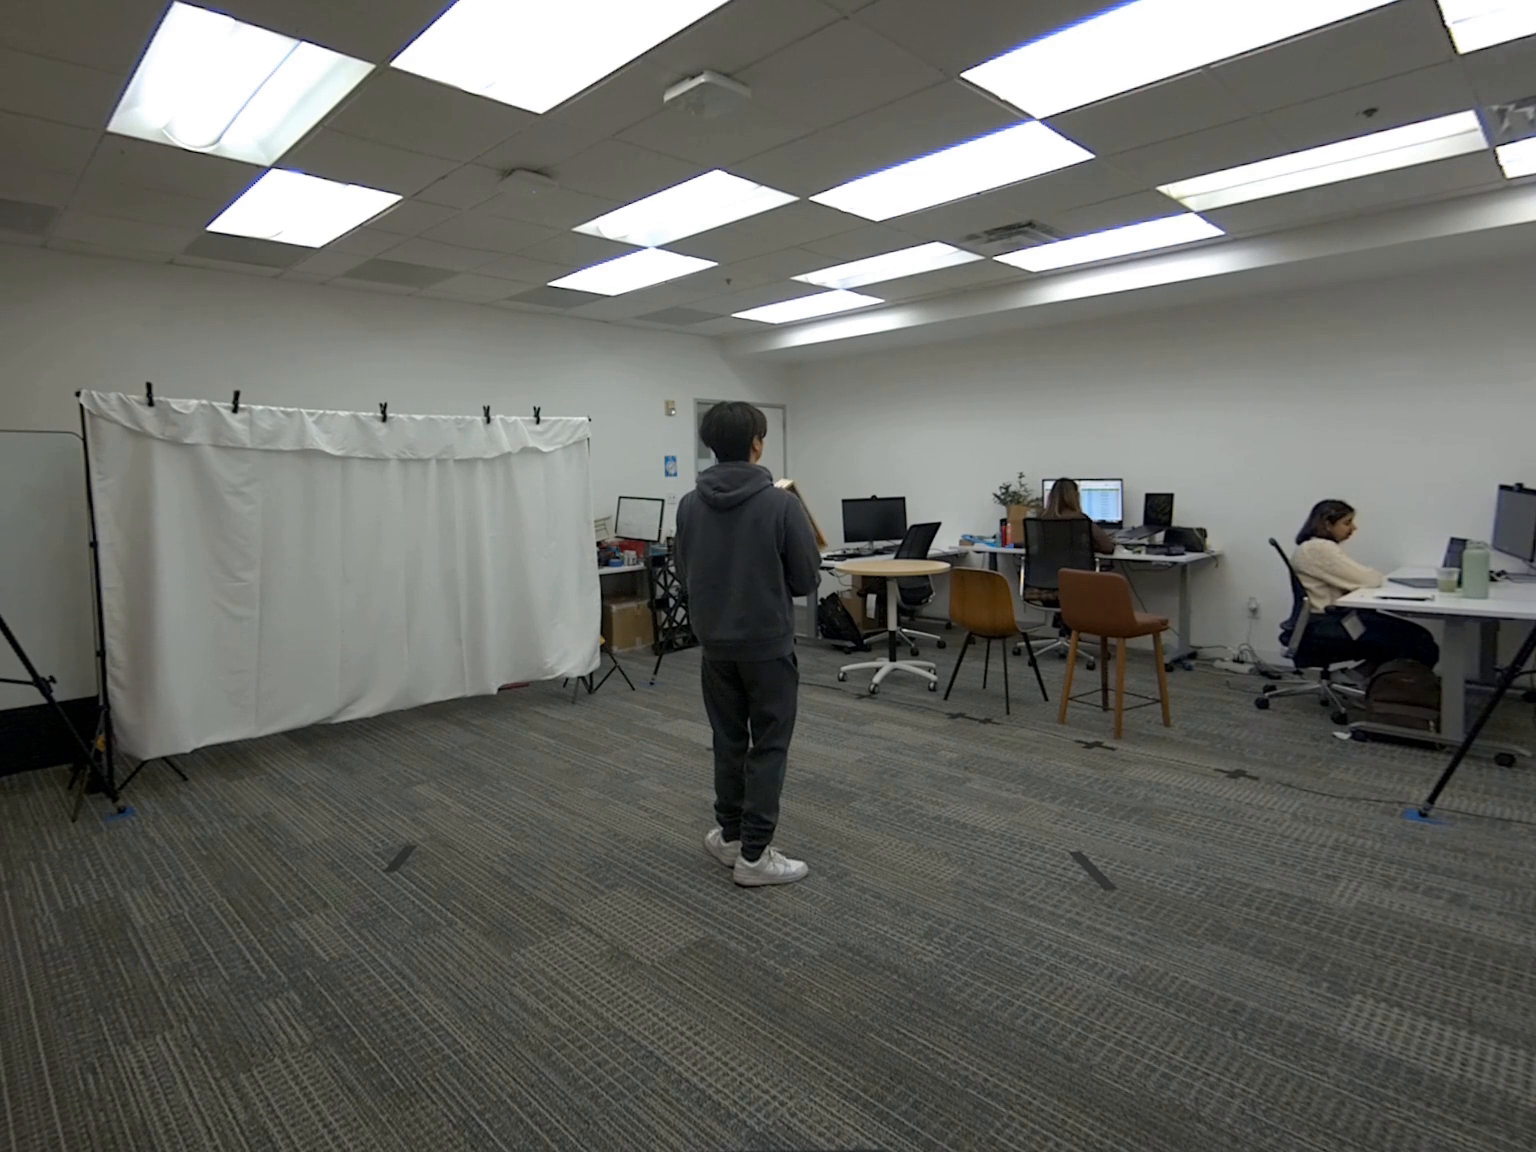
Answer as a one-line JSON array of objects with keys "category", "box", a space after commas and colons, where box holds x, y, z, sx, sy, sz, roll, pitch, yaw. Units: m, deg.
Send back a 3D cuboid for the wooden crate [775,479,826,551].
[{"category": "wooden crate", "box": [0.000, -0.170, 3.325, 0.301, 0.316, 0.281, -38, 23, -16]}]
